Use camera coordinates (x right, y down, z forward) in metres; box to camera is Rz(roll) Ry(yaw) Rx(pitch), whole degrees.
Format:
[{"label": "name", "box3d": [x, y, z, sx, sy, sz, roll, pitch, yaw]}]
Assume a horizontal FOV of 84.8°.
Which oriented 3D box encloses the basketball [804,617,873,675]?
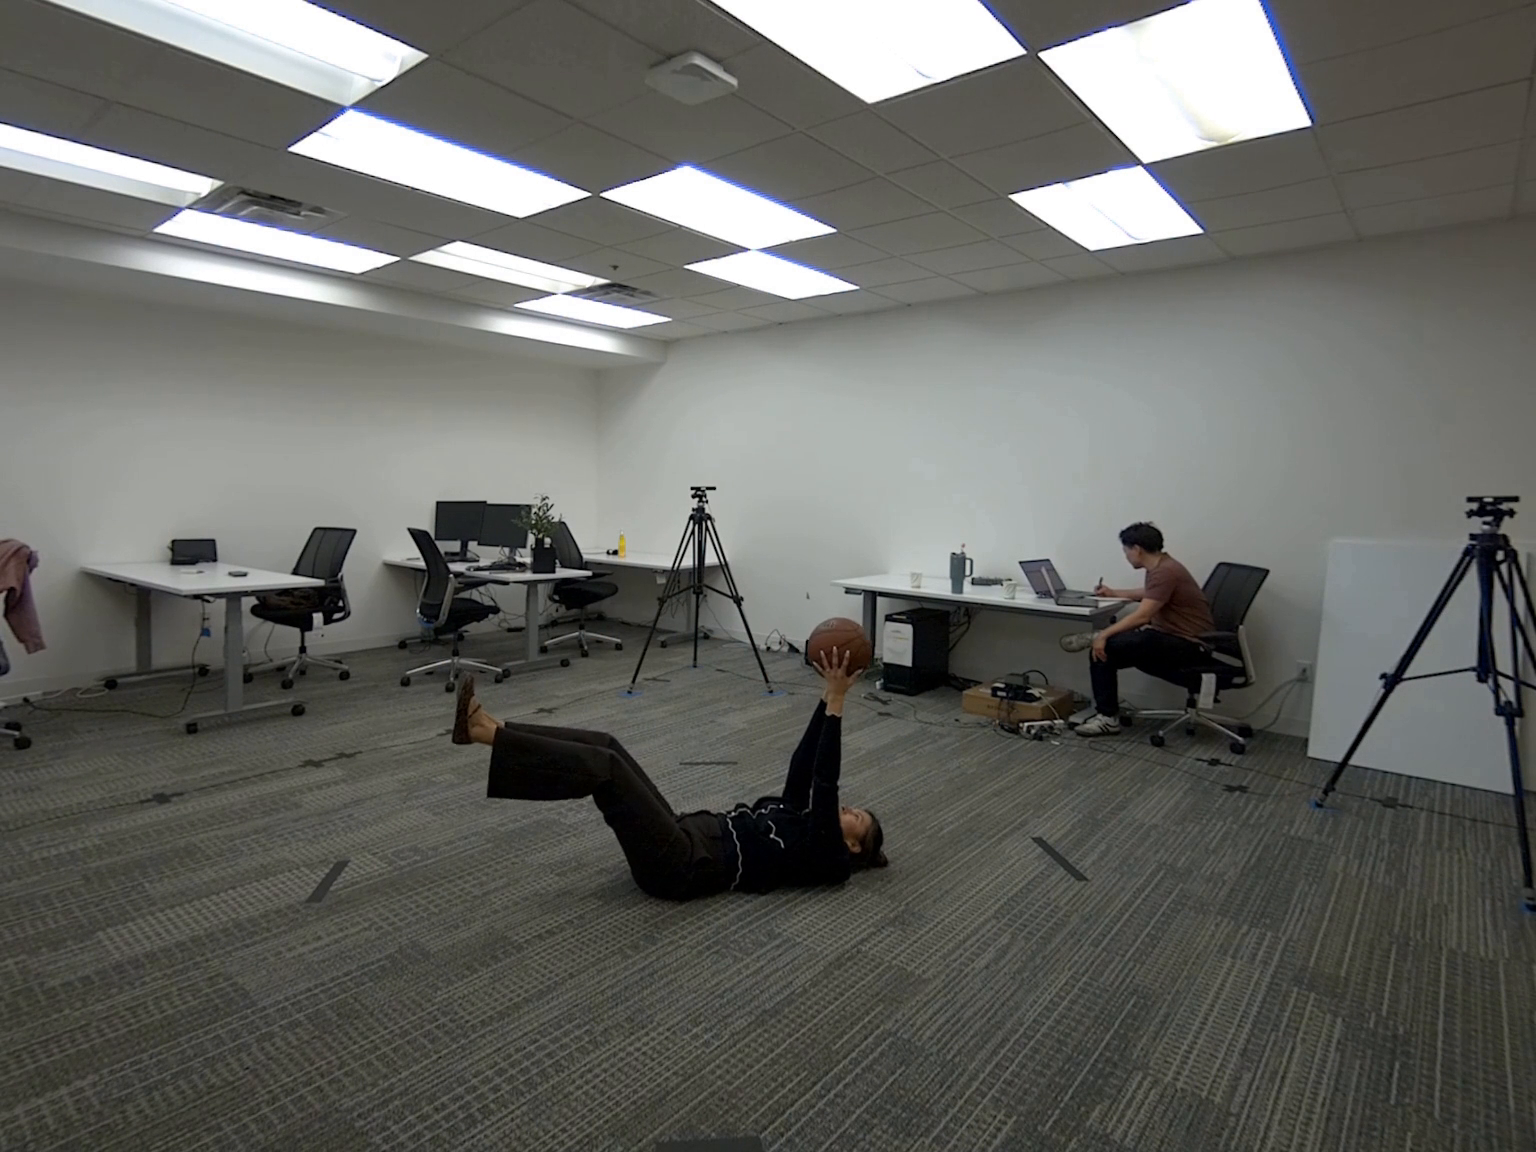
[{"label": "basketball", "box3d": [0.250, 0.266, 3.126, 0.236, 0.235, 0.237, 1, 4, -2]}]
